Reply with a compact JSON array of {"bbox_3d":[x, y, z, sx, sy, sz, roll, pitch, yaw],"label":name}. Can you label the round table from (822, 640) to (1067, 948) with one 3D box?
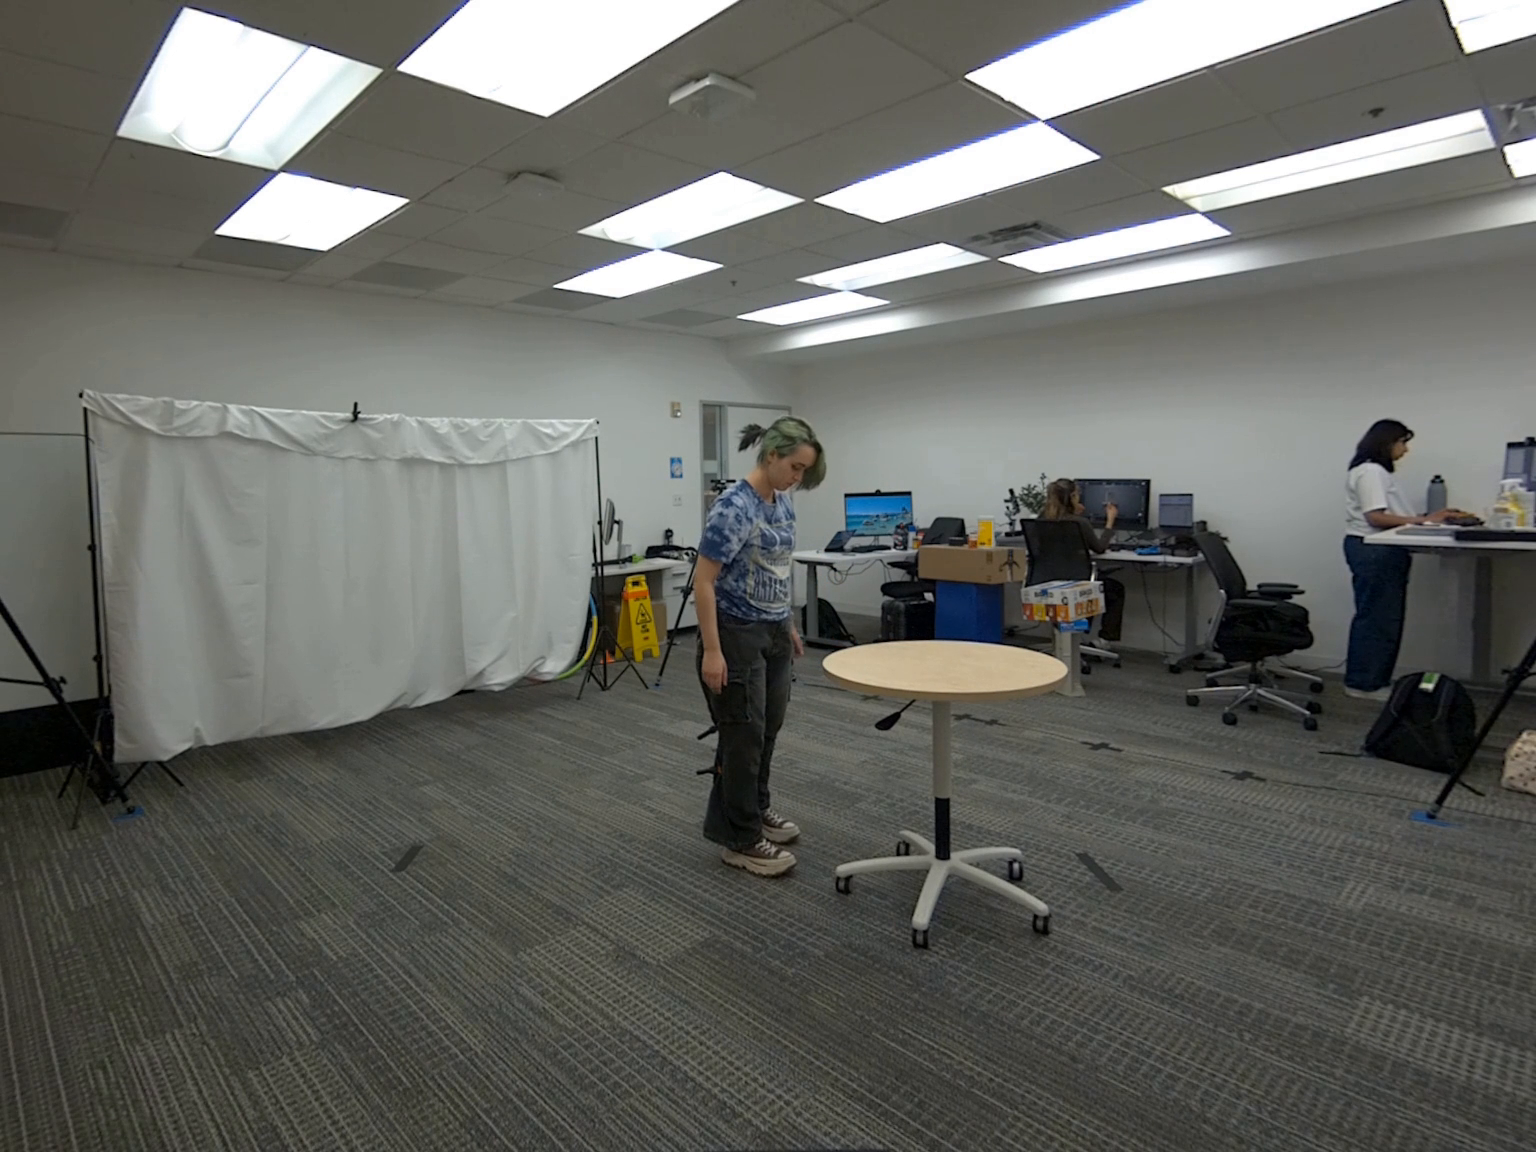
[{"bbox_3d":[0.576,0.683,2.788,0.763,0.790,0.768,-1,5,-2],"label":"round table"}]
